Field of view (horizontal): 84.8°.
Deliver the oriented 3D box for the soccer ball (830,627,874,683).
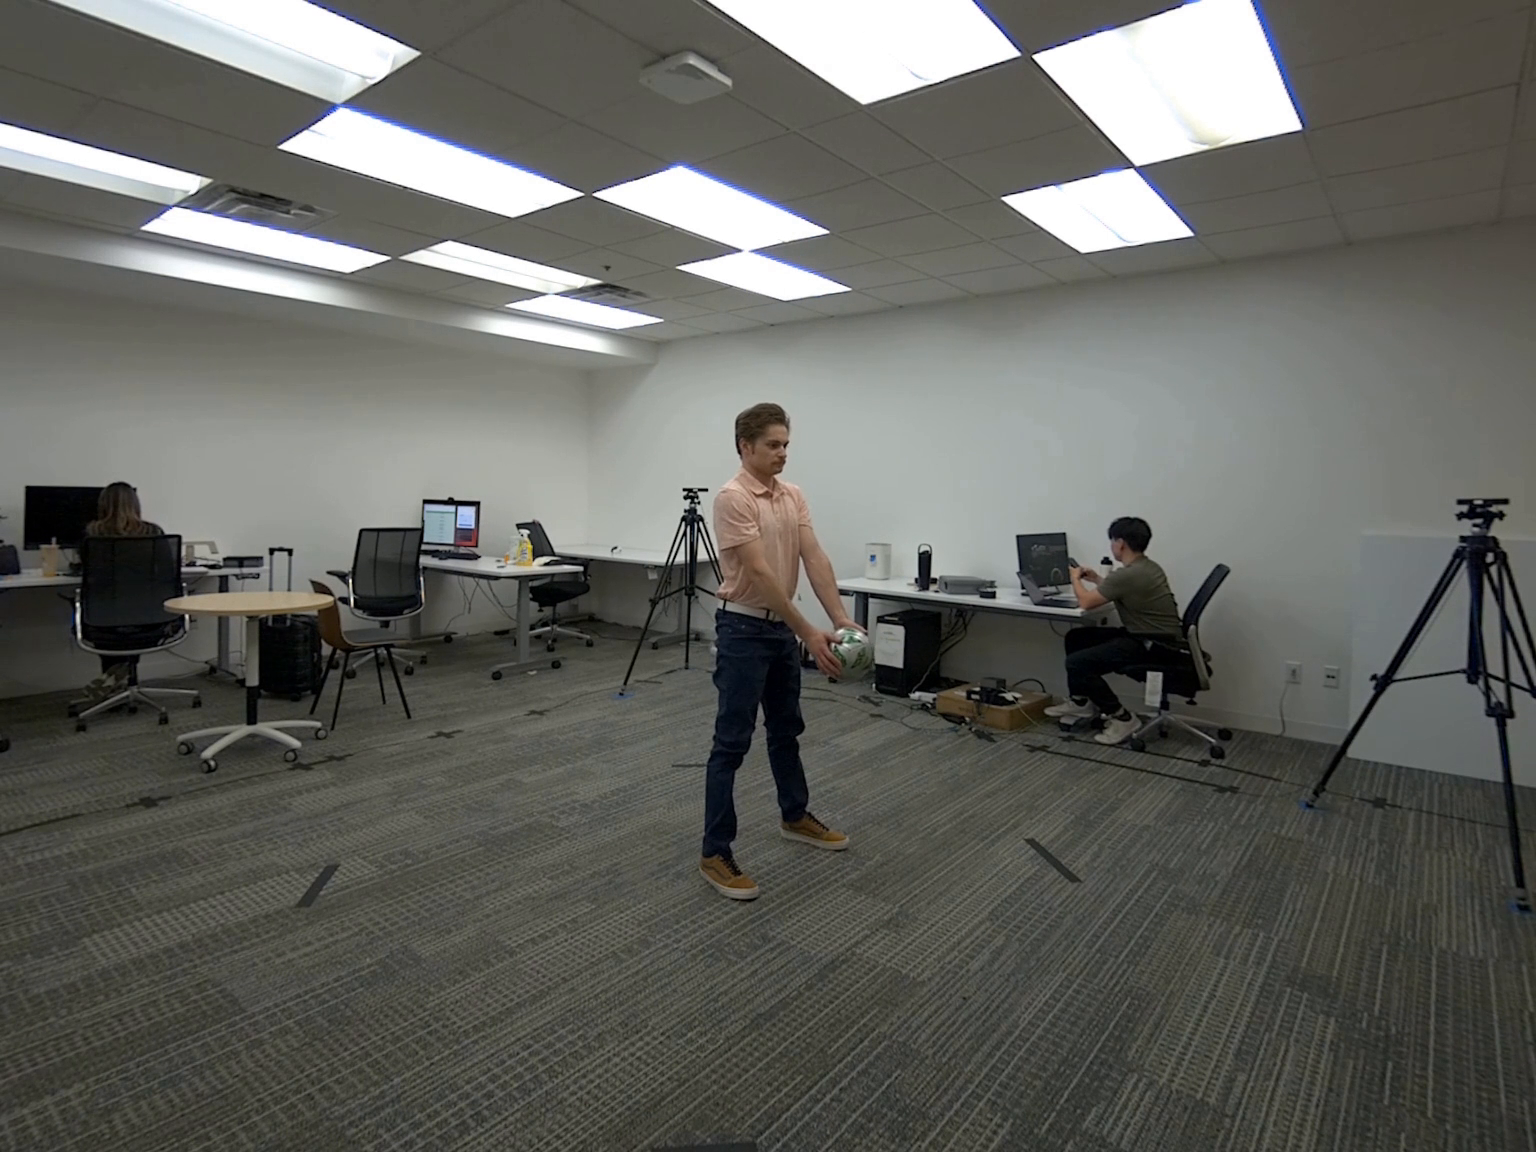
[{"bbox_3d":[0.274,0.268,2.931,0.187,0.187,0.188,1,4,-2],"label":"soccer ball"}]
